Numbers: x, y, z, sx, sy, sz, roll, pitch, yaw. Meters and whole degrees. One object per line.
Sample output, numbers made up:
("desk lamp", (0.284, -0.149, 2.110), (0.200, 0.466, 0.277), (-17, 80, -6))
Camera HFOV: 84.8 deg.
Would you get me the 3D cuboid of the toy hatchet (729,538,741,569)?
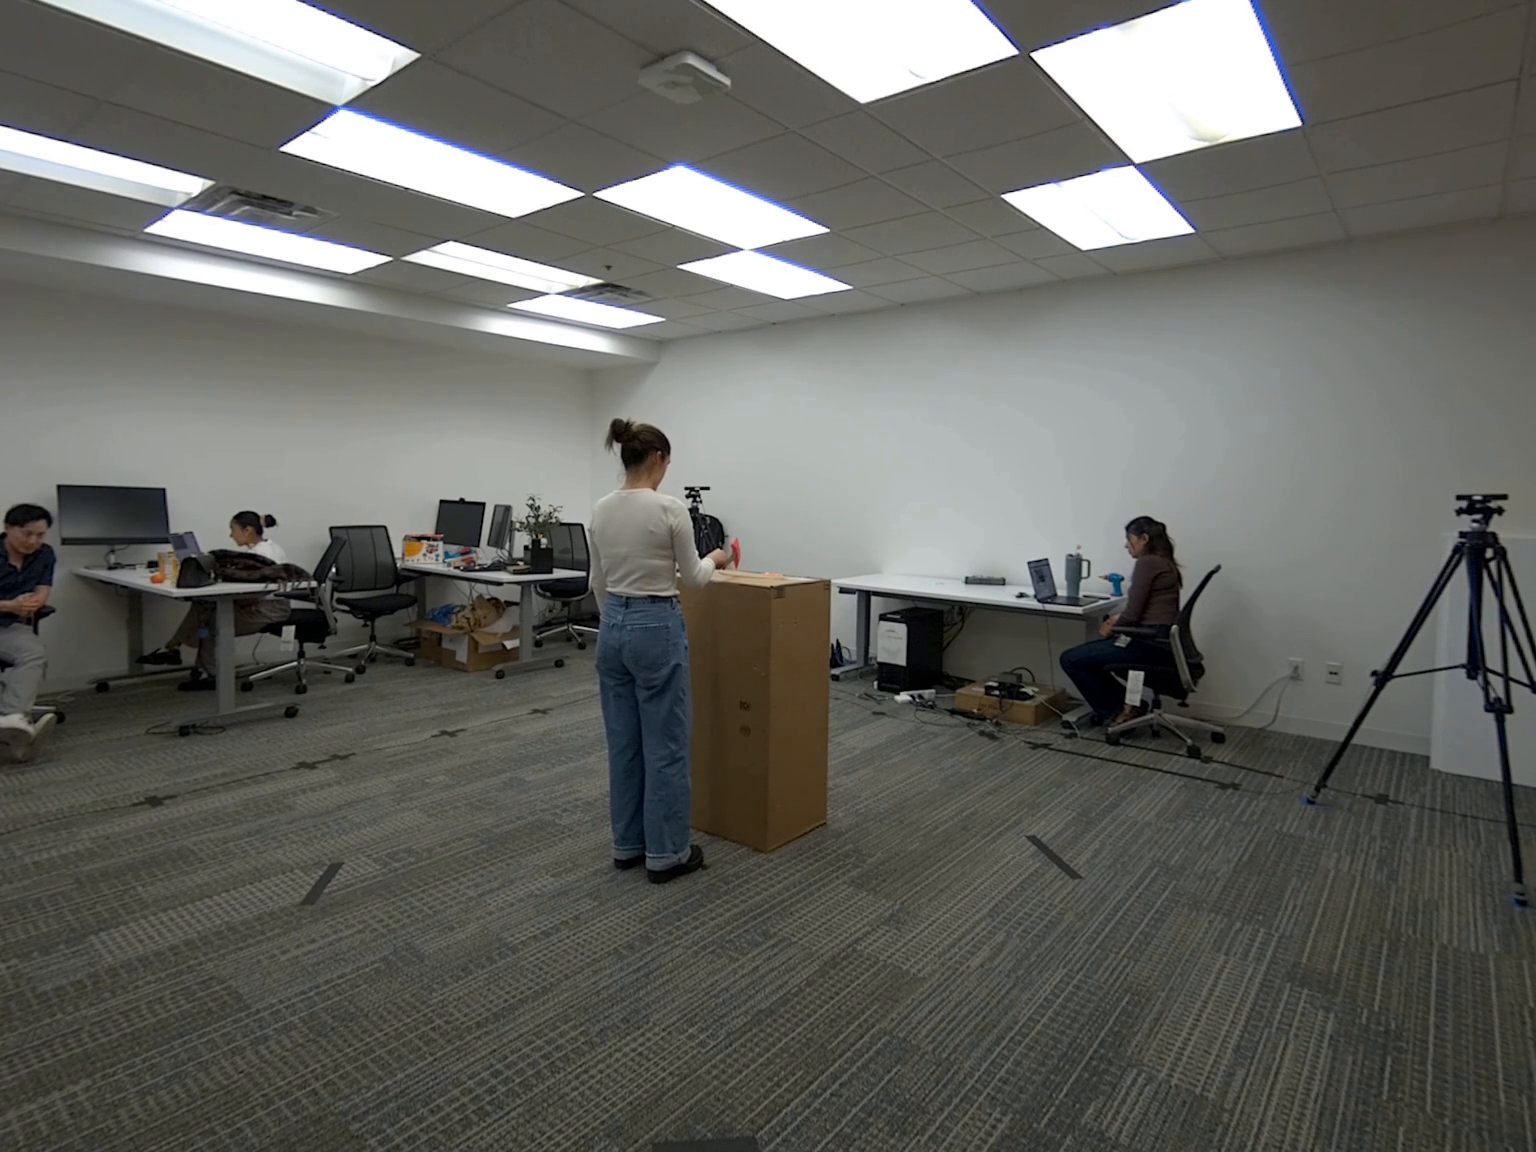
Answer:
("toy hatchet", (-0.169, -0.093, 3.446), (0.030, 0.131, 0.266), (6, 1, 12))
